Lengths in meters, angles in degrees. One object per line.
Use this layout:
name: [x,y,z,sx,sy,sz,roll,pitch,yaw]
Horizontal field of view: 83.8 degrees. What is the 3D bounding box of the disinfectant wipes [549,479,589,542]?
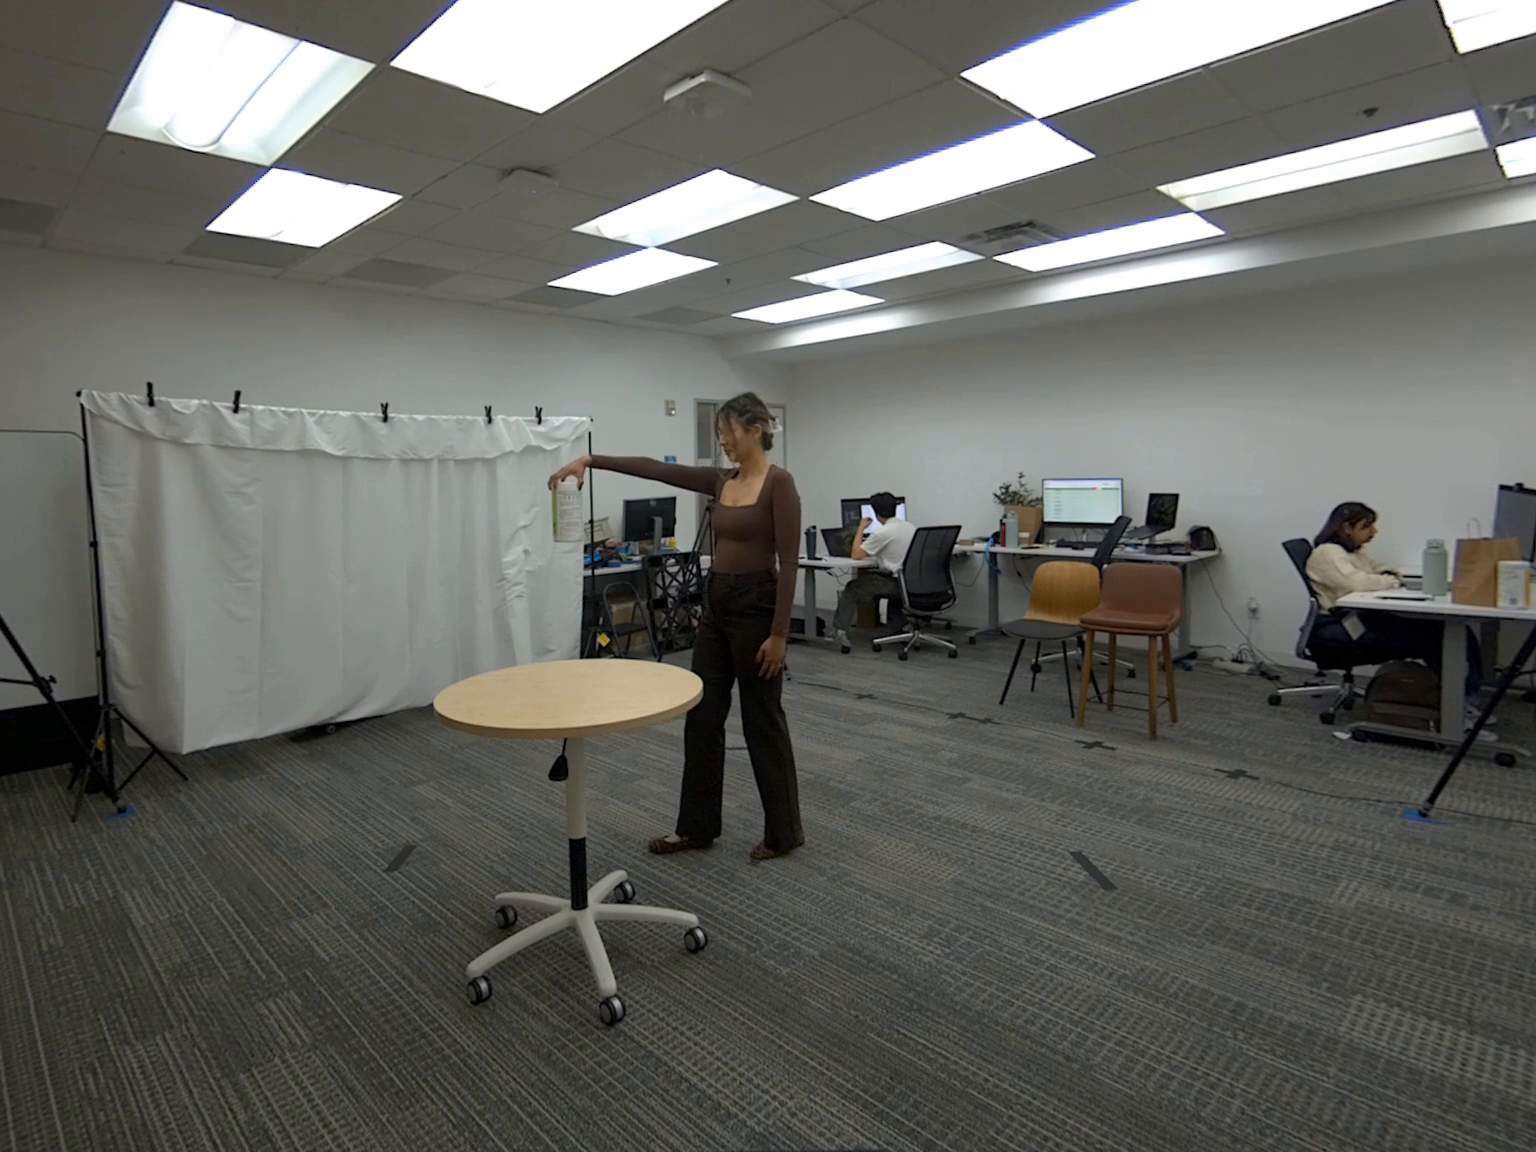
disinfectant wipes: [-0.714,-0.236,3.074,0.118,0.217,0.118,0,2,-2]
